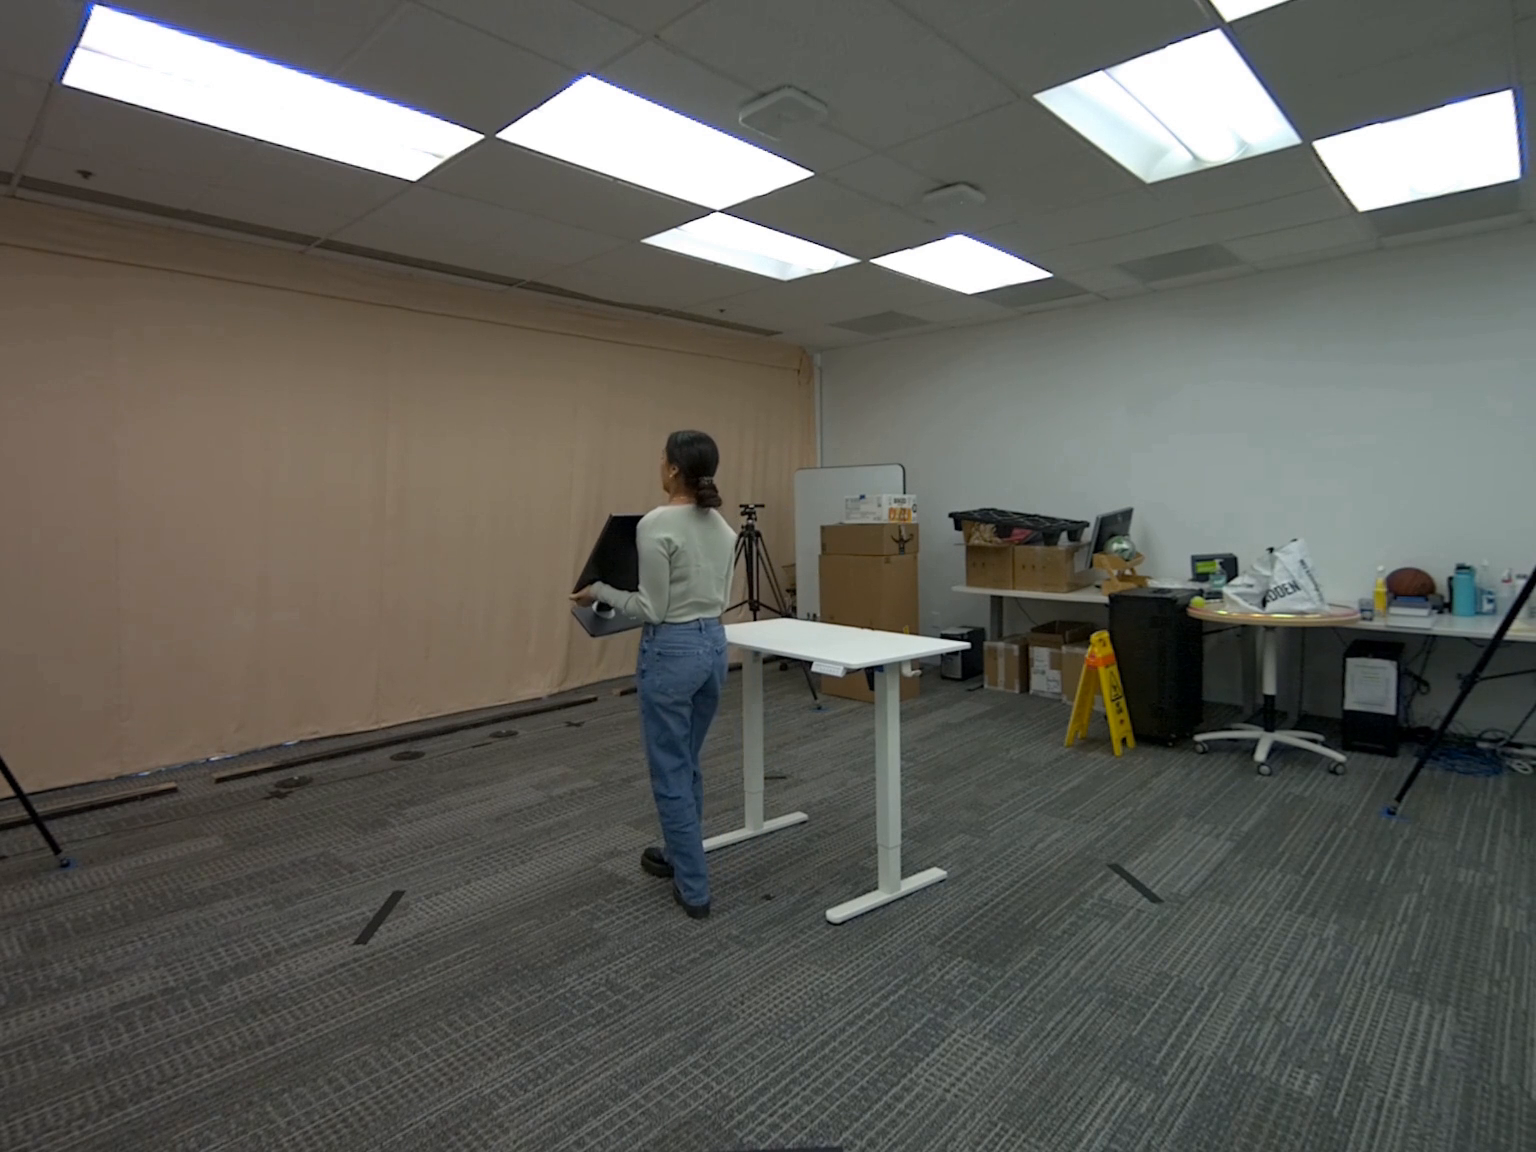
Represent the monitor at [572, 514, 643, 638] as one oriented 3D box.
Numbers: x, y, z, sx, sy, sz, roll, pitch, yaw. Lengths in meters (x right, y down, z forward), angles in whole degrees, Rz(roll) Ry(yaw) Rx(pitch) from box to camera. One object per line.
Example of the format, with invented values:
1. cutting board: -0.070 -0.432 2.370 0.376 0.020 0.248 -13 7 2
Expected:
1. monitor: -0.487 -0.030 3.046 0.523 0.192 0.525 -7 -38 -53
